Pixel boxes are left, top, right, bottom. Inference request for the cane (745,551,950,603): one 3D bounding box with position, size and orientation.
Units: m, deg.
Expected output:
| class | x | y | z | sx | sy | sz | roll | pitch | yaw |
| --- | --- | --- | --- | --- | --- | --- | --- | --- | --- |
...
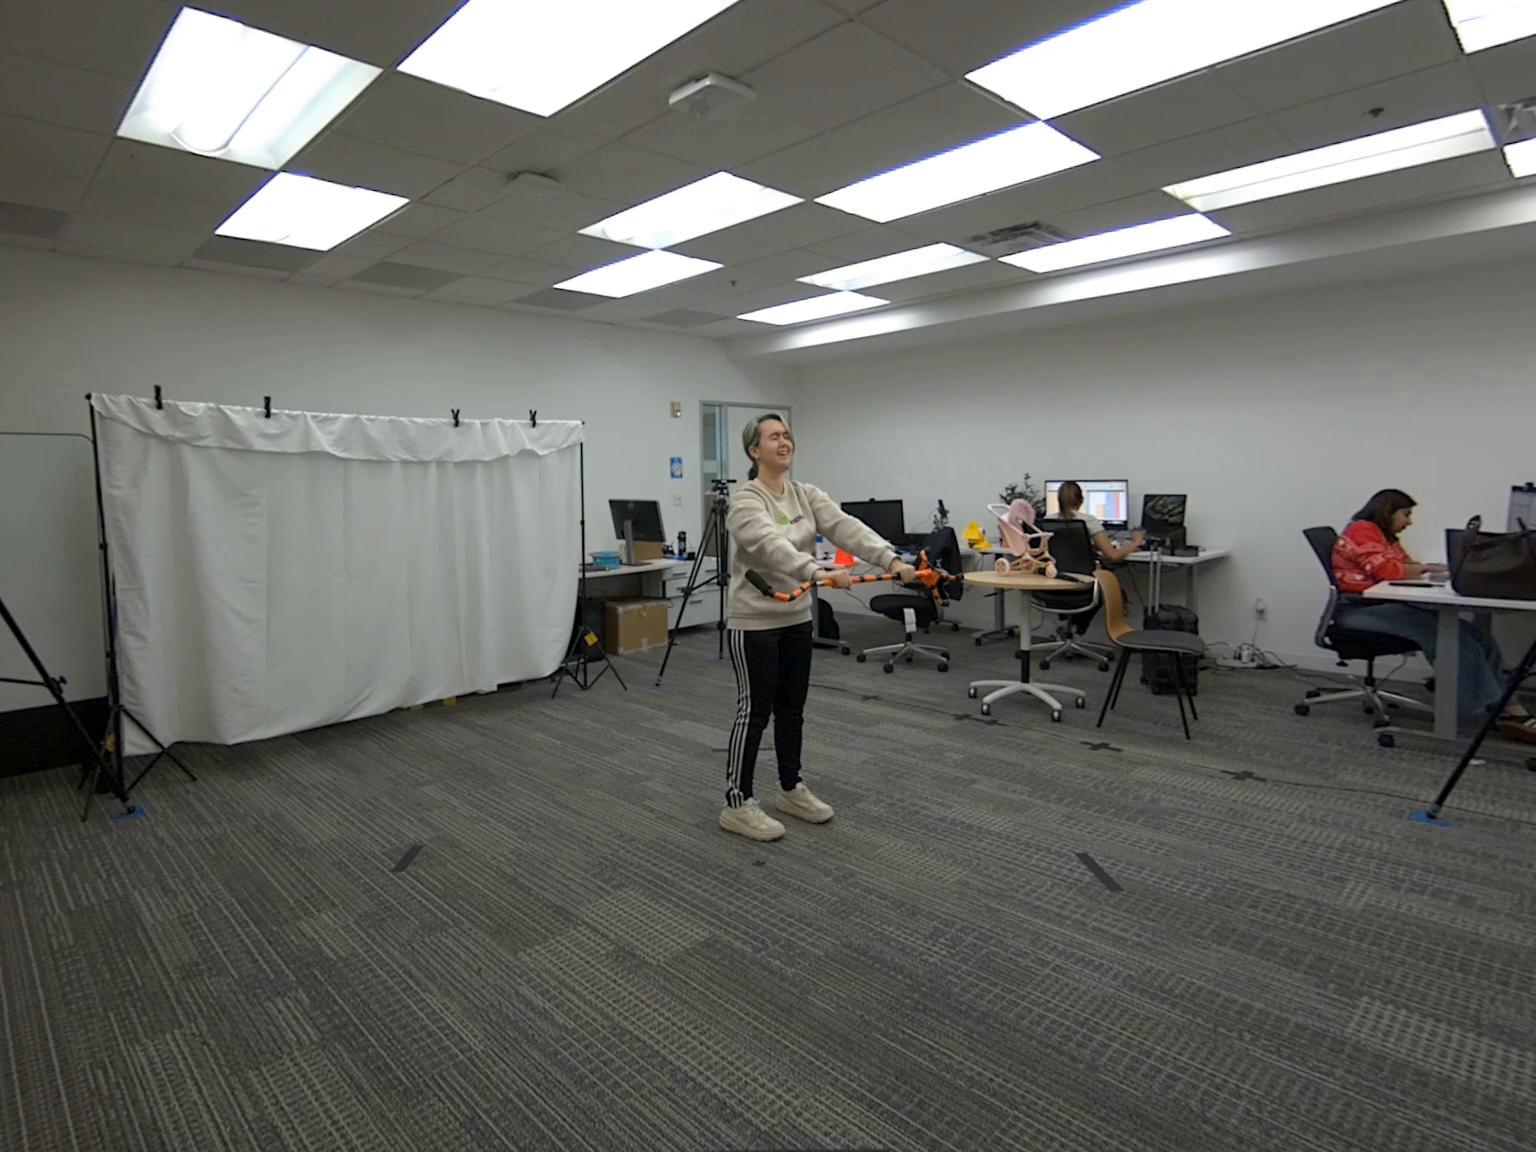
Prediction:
| class | x | y | z | sx | sy | sz | roll | pitch | yaw |
| --- | --- | --- | --- | --- | --- | --- | --- | --- | --- |
| cane | 0.305 | 0.021 | 3.005 | 0.884 | 0.150 | 0.215 | -4 | 34 | -38 |
